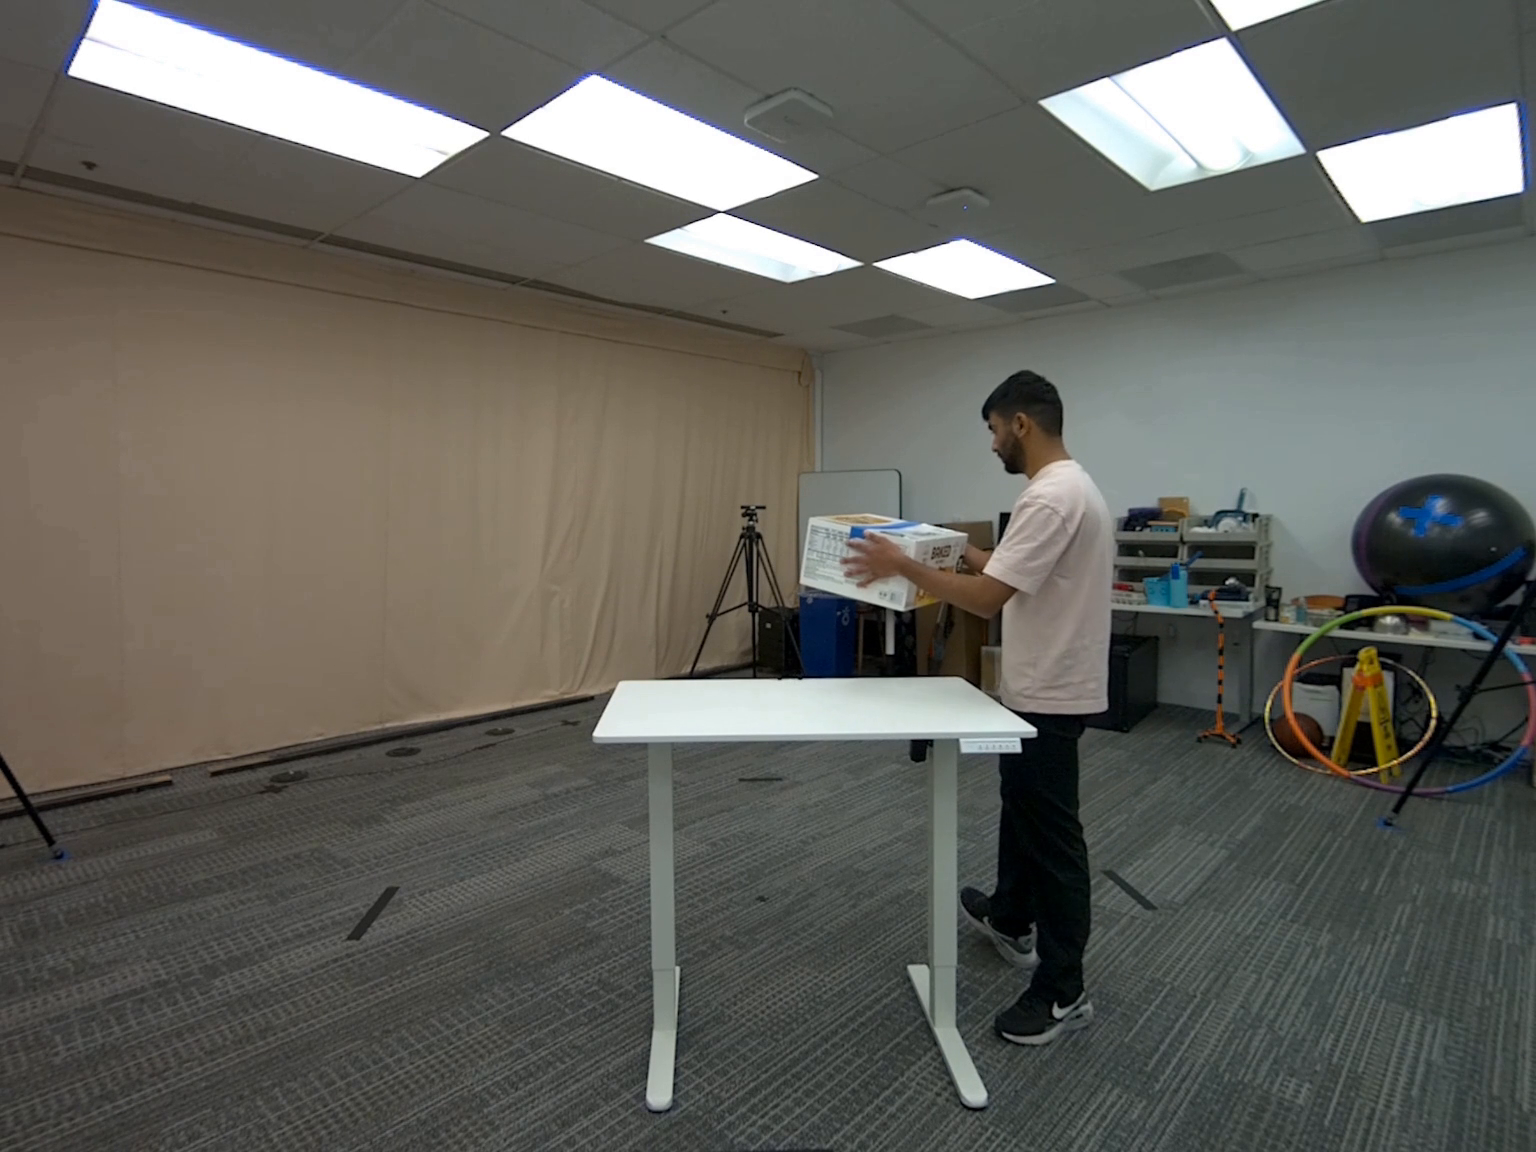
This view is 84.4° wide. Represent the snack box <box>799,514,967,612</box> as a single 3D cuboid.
[{"bbox_3d":[0.360,-0.052,2.541,0.351,0.204,0.394,14,13,32],"label":"snack box"}]
